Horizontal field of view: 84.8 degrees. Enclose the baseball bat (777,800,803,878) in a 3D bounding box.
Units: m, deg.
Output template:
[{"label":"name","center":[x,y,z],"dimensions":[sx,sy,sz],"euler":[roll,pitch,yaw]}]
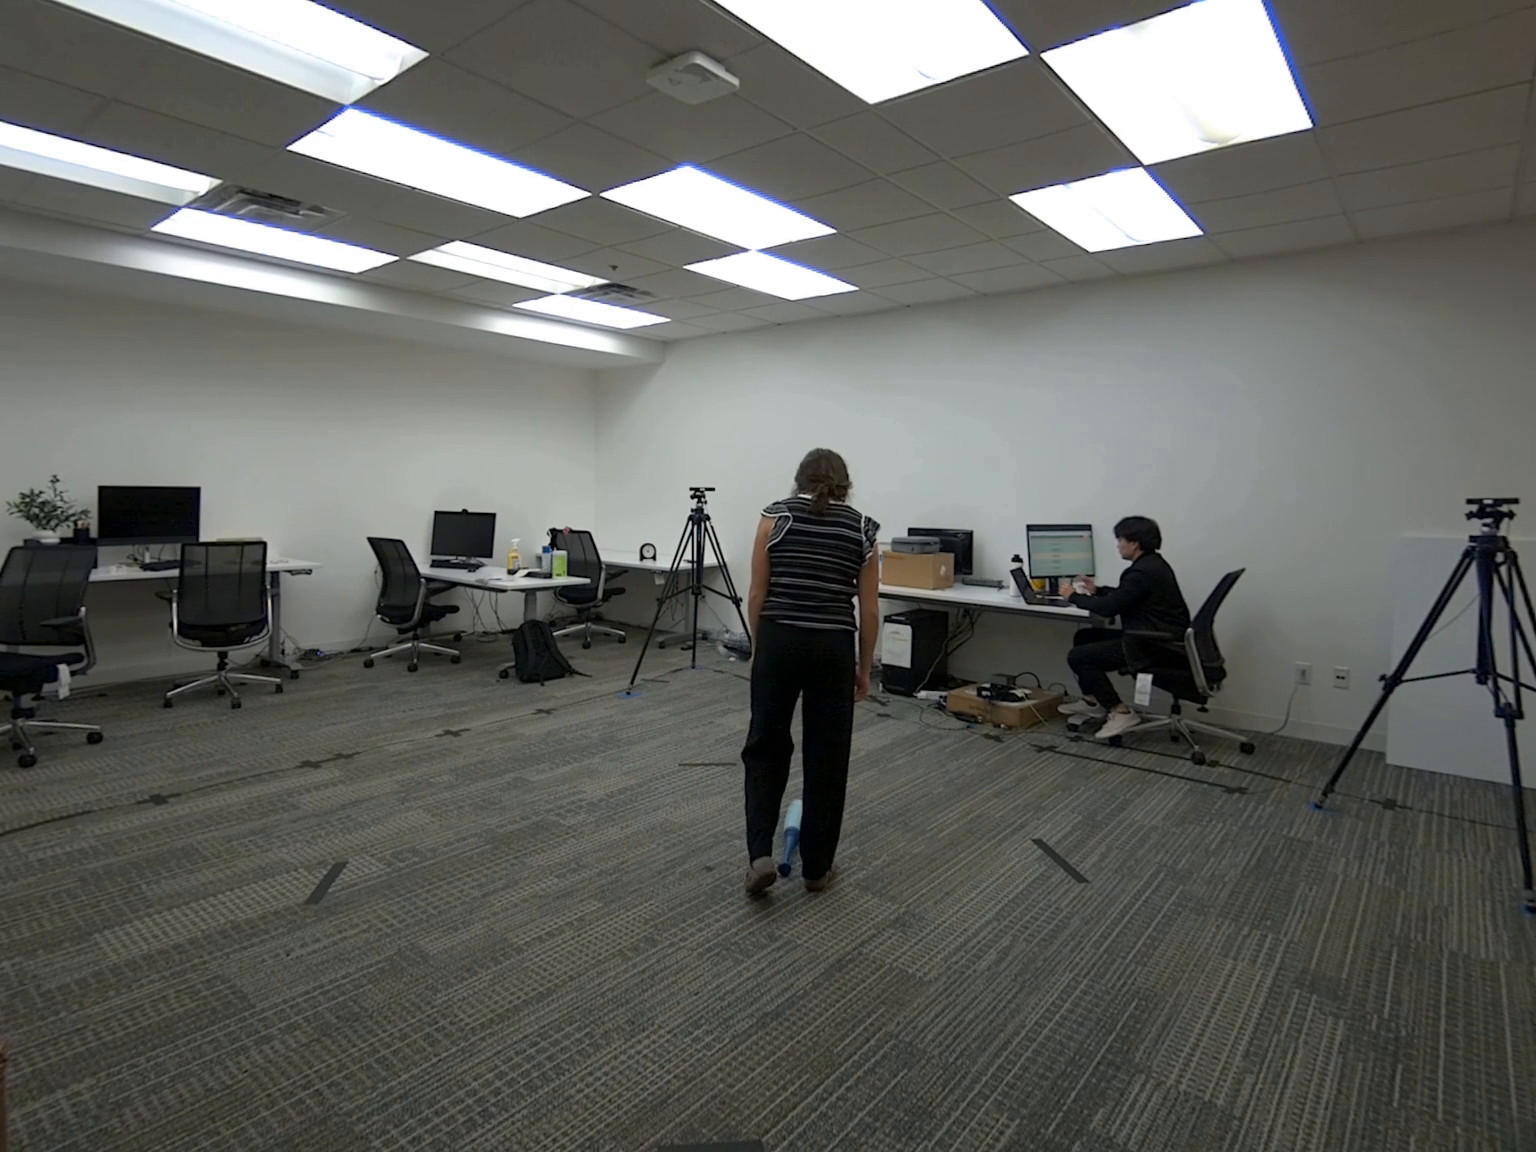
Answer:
[{"label":"baseball bat","center":[0.084,1.015,3.314],"dimensions":[0.090,0.088,0.541],"euler":[1,9,8]}]
